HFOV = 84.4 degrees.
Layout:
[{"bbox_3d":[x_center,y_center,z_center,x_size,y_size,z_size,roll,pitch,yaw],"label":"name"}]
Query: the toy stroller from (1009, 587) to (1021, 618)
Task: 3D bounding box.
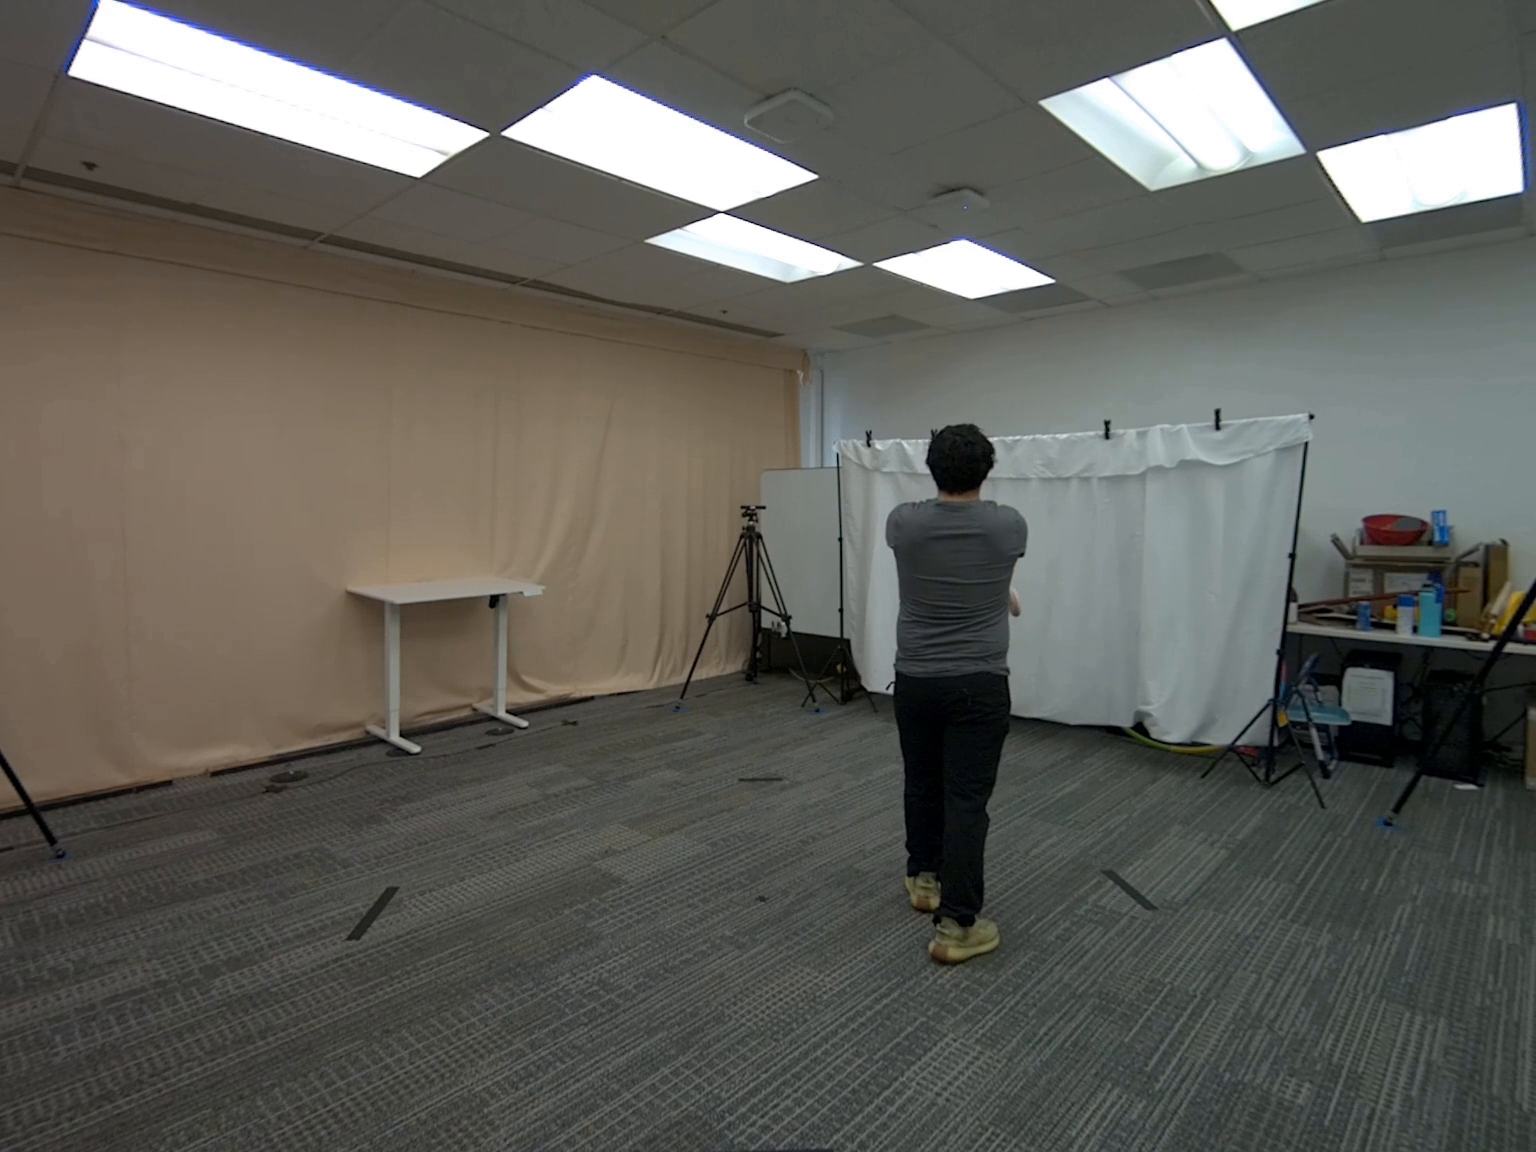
[{"bbox_3d":[0.768,0.029,3.259,0.284,0.545,0.332,-12,-29,8],"label":"toy stroller"}]
